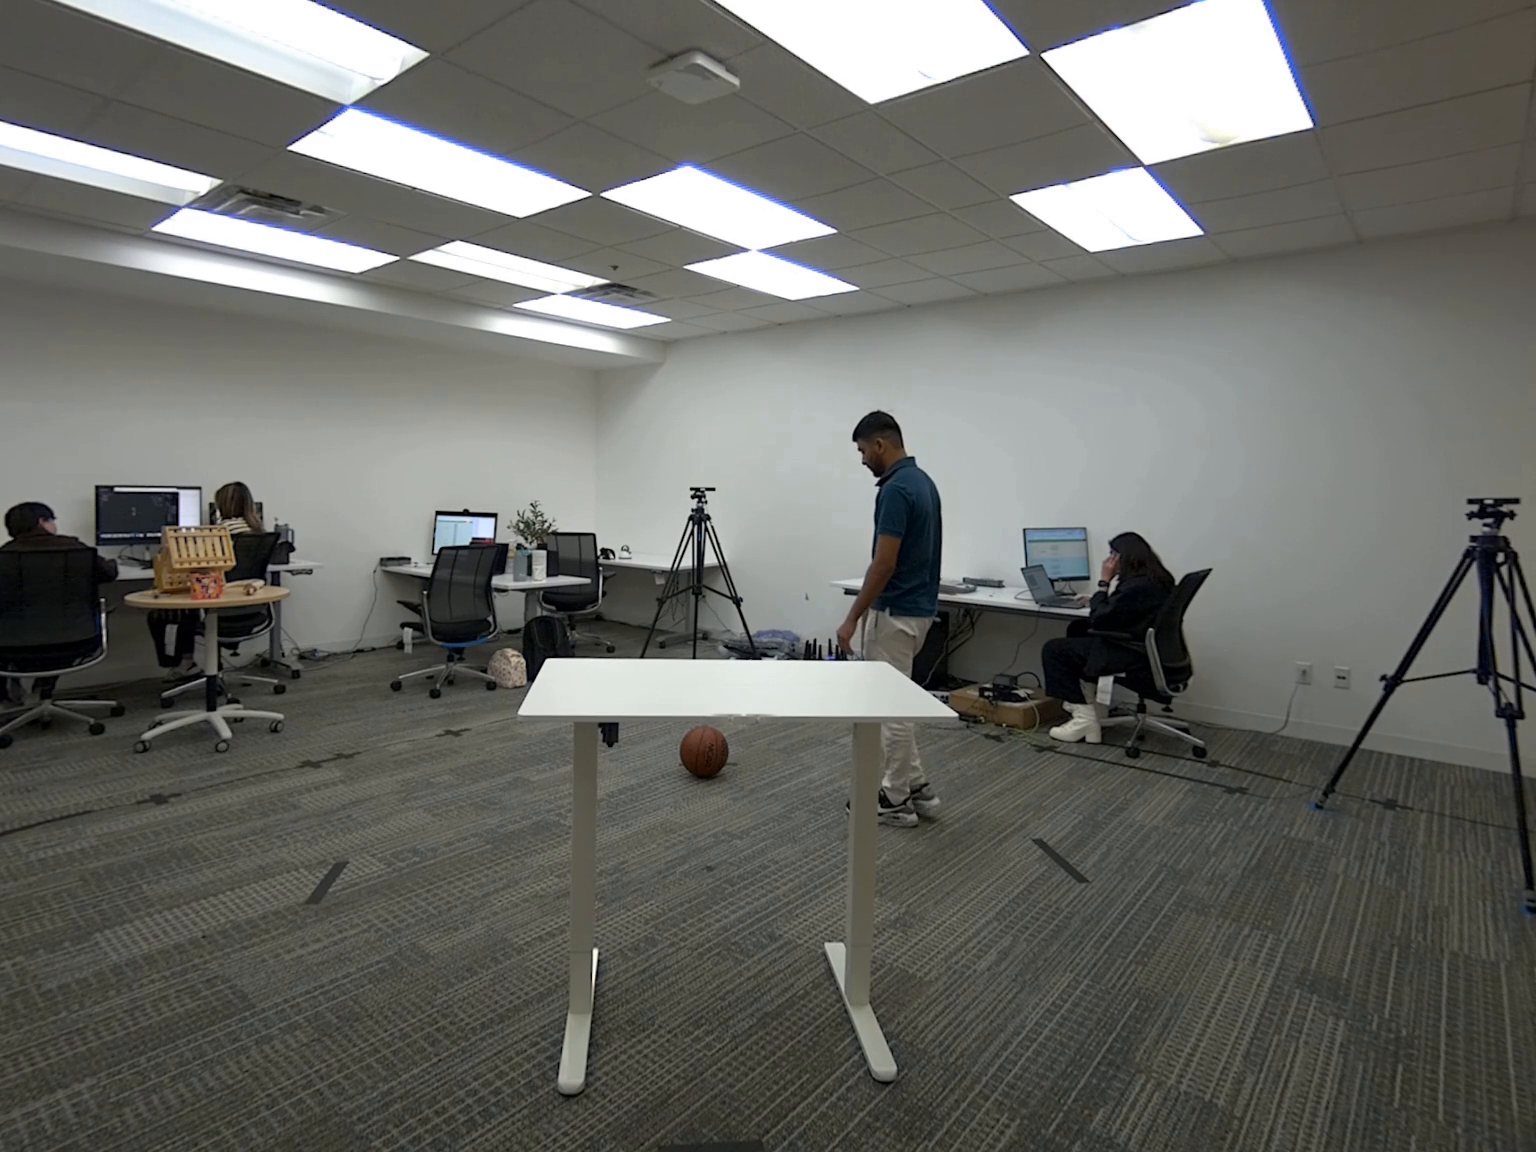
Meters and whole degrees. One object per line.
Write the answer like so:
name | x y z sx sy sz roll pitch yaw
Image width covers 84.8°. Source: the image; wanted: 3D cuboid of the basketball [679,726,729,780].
basketball | -0.318 0.846 4.128 0.235 0.235 0.237 1 4 -2
